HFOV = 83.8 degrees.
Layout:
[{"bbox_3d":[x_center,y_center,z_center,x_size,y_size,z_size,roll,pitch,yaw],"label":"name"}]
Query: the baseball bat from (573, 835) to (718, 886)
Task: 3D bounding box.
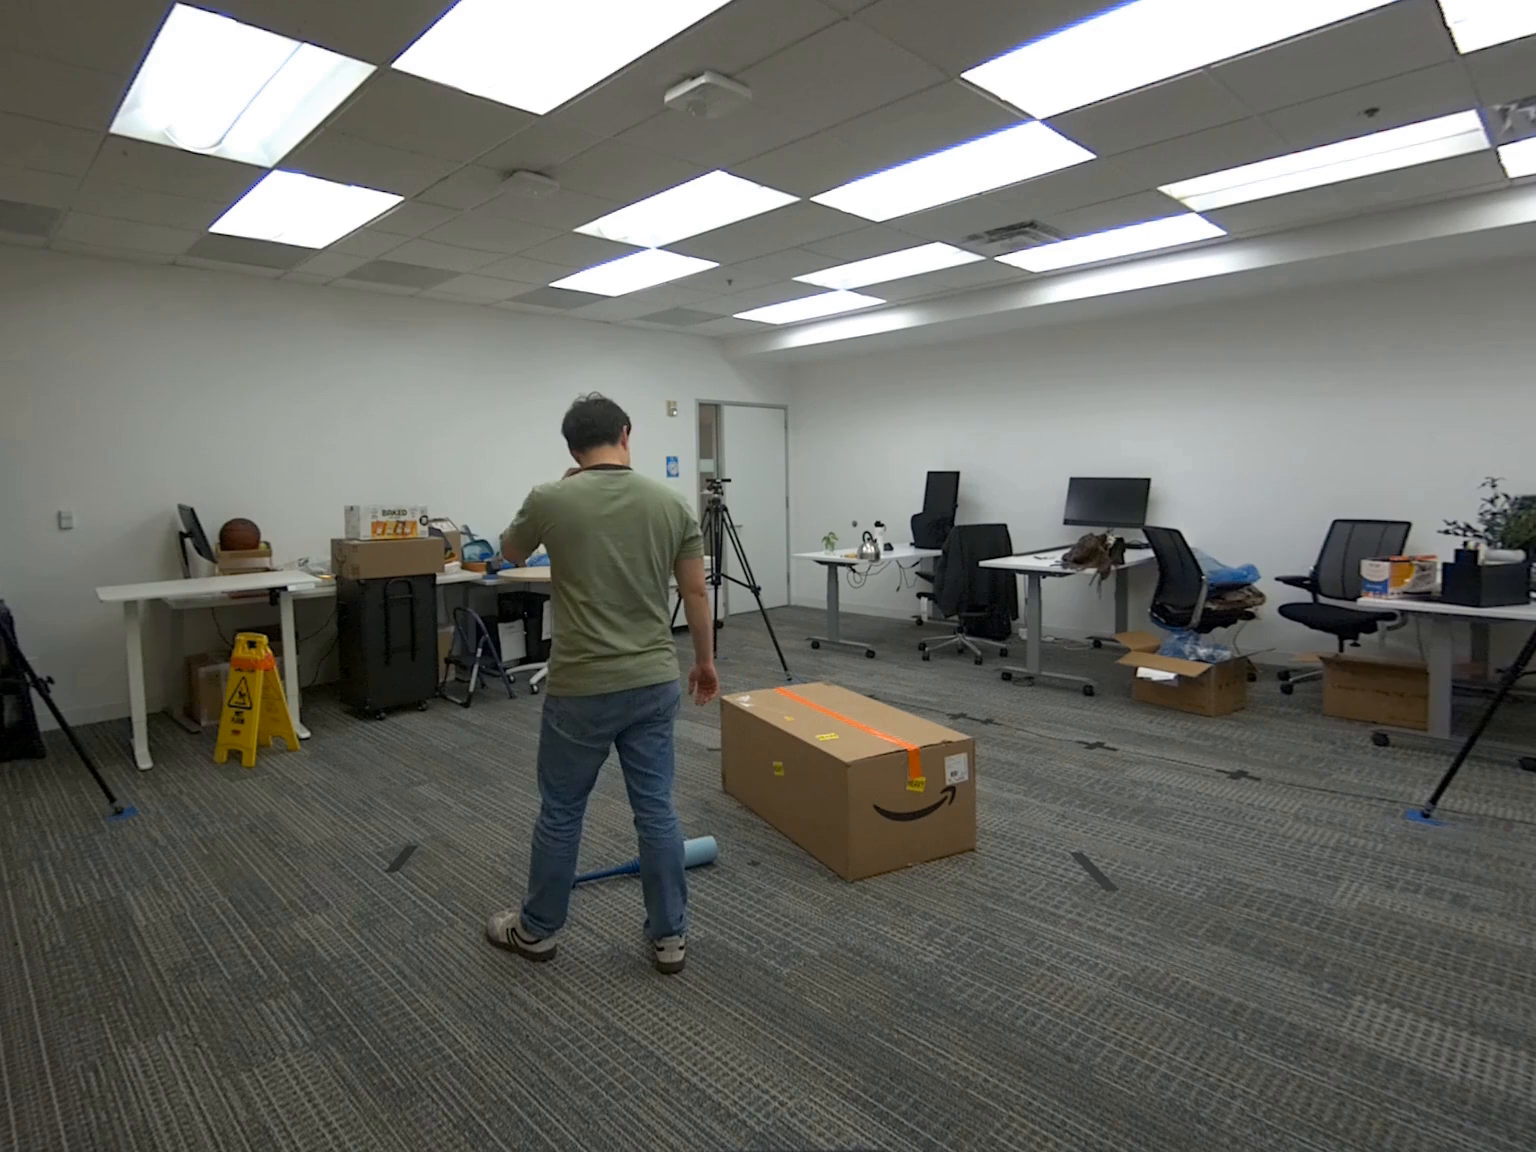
[{"bbox_3d":[-0.437,1.028,3.023,0.534,0.088,0.091,-7,7,-19],"label":"baseball bat"}]
